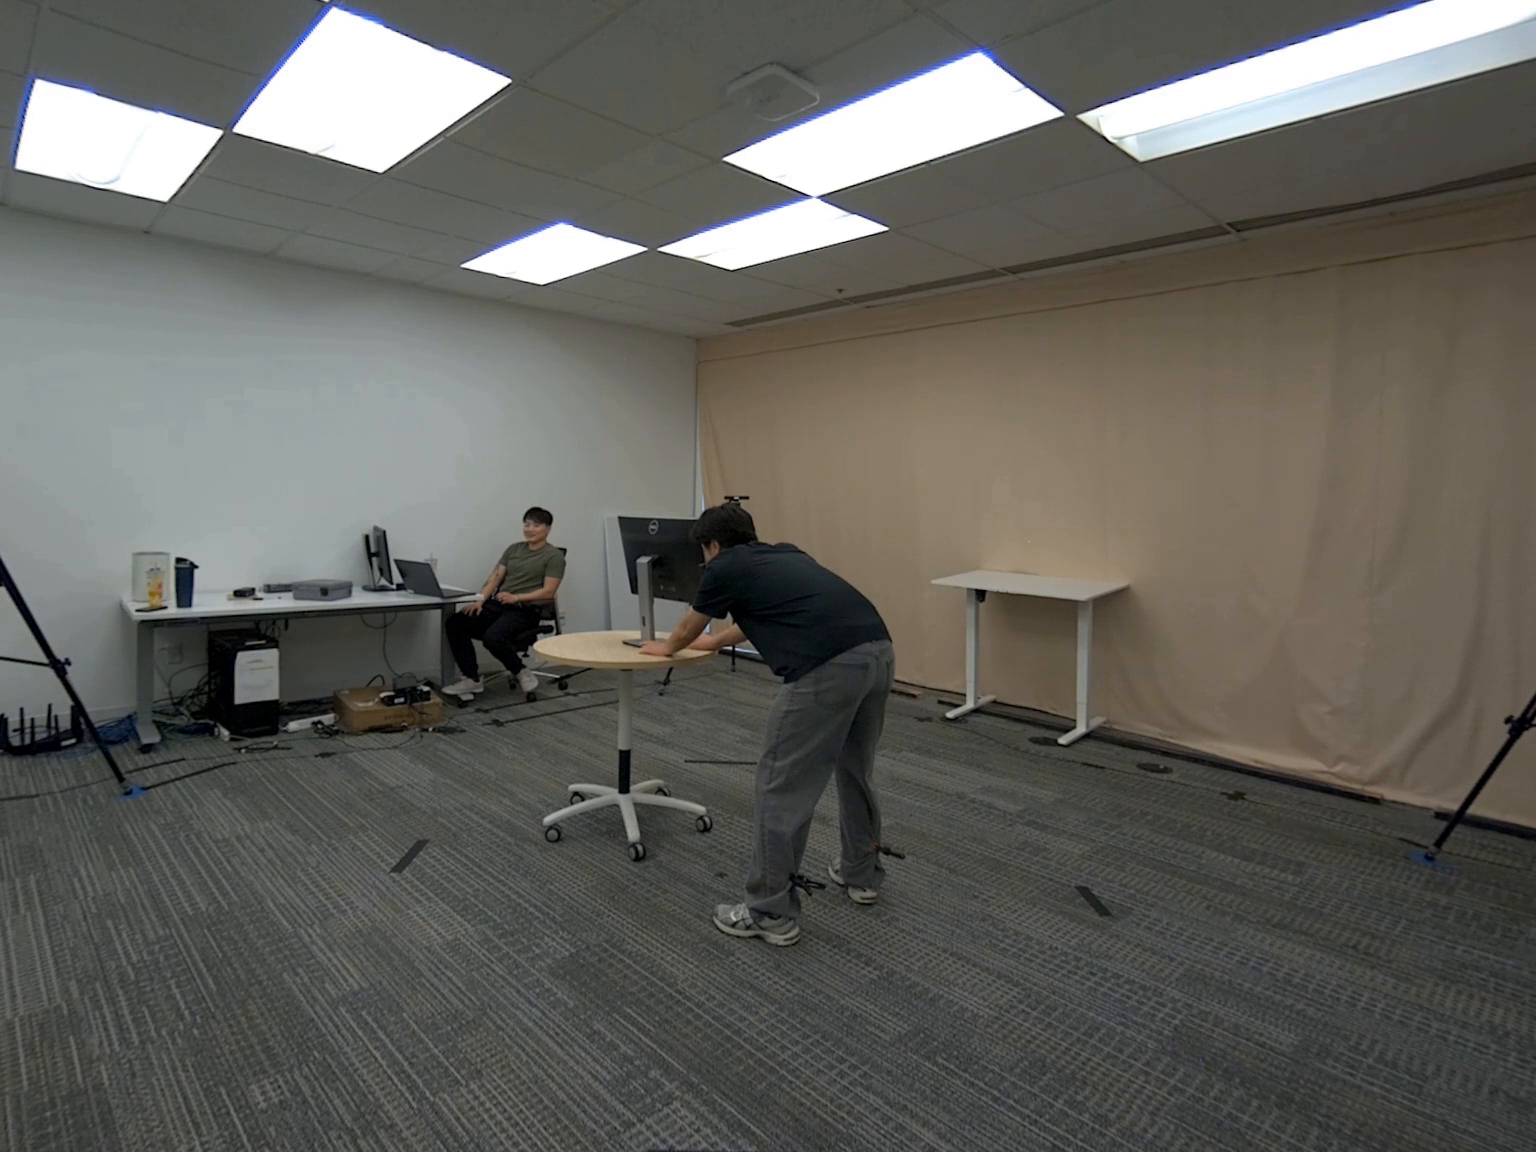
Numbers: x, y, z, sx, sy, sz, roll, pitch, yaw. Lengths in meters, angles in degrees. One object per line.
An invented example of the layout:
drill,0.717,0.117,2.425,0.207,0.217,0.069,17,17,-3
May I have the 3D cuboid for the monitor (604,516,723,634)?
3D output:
monitor,-0.484,0.024,3.497,0.580,0.551,0.206,5,11,44
